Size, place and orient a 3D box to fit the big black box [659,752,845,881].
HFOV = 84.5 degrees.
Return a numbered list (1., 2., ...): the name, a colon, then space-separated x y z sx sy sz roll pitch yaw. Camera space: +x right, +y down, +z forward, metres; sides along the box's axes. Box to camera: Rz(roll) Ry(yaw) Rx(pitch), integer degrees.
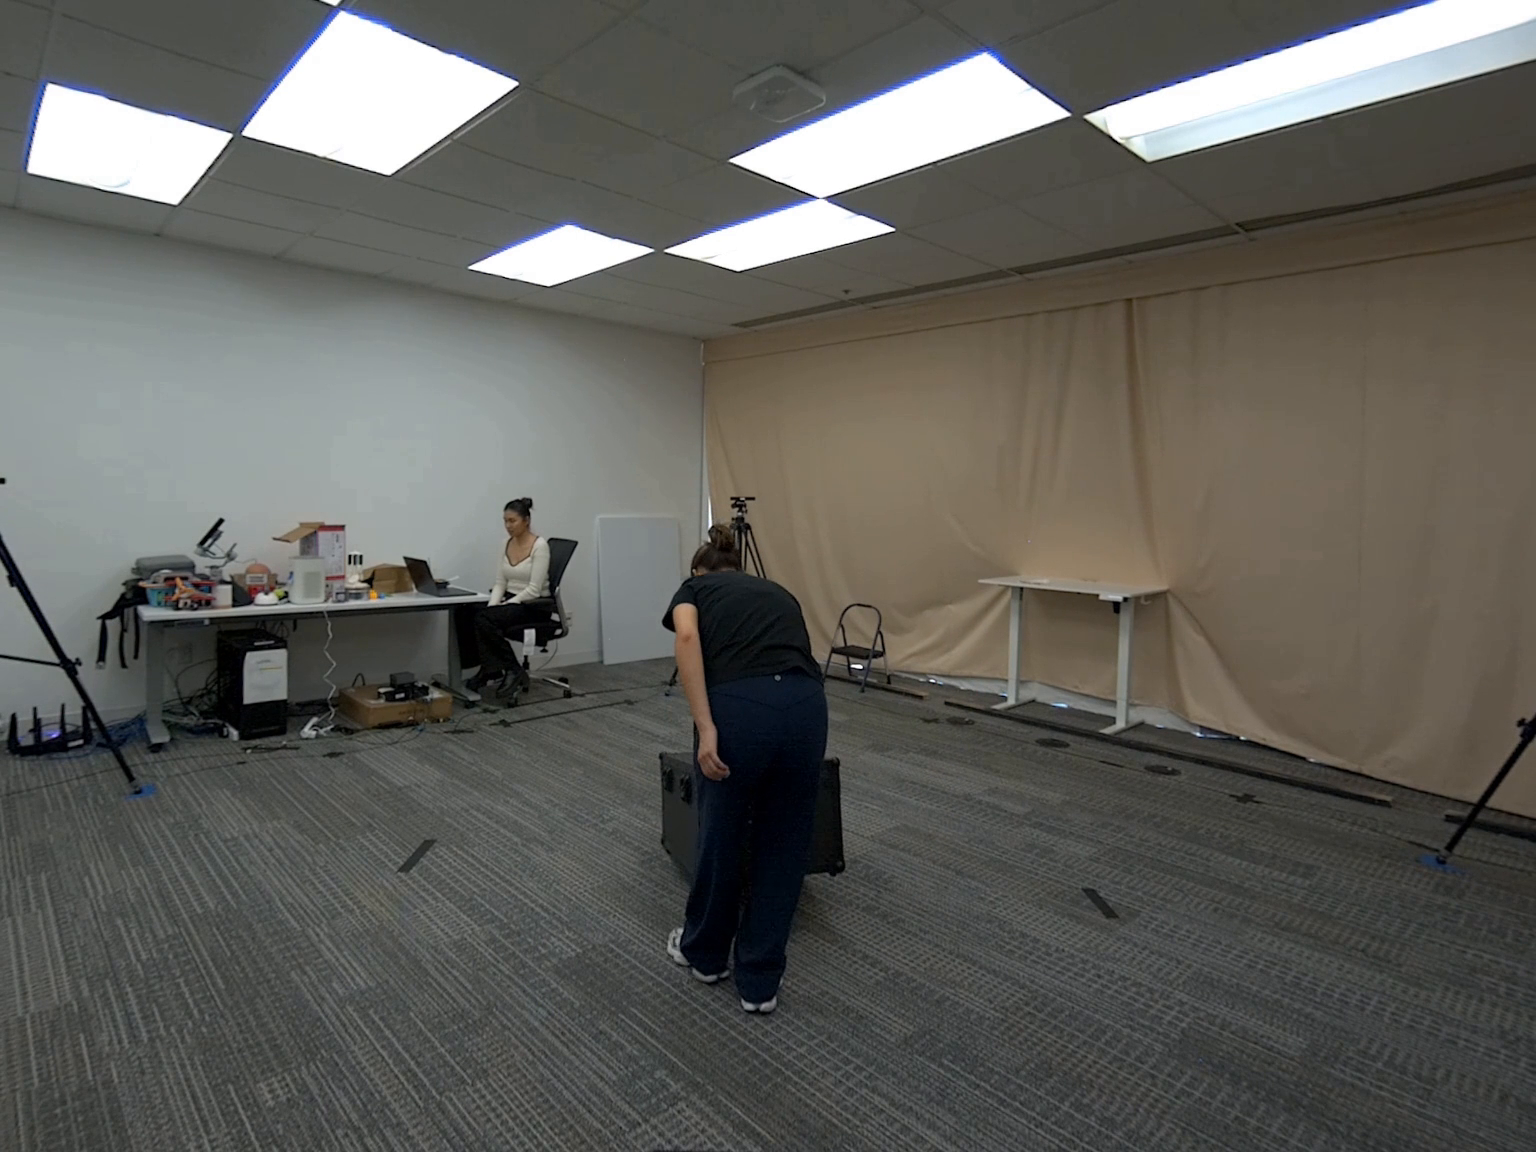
1. big black box: -0.100 0.854 3.082 0.515 0.399 0.866 0 -8 -16
